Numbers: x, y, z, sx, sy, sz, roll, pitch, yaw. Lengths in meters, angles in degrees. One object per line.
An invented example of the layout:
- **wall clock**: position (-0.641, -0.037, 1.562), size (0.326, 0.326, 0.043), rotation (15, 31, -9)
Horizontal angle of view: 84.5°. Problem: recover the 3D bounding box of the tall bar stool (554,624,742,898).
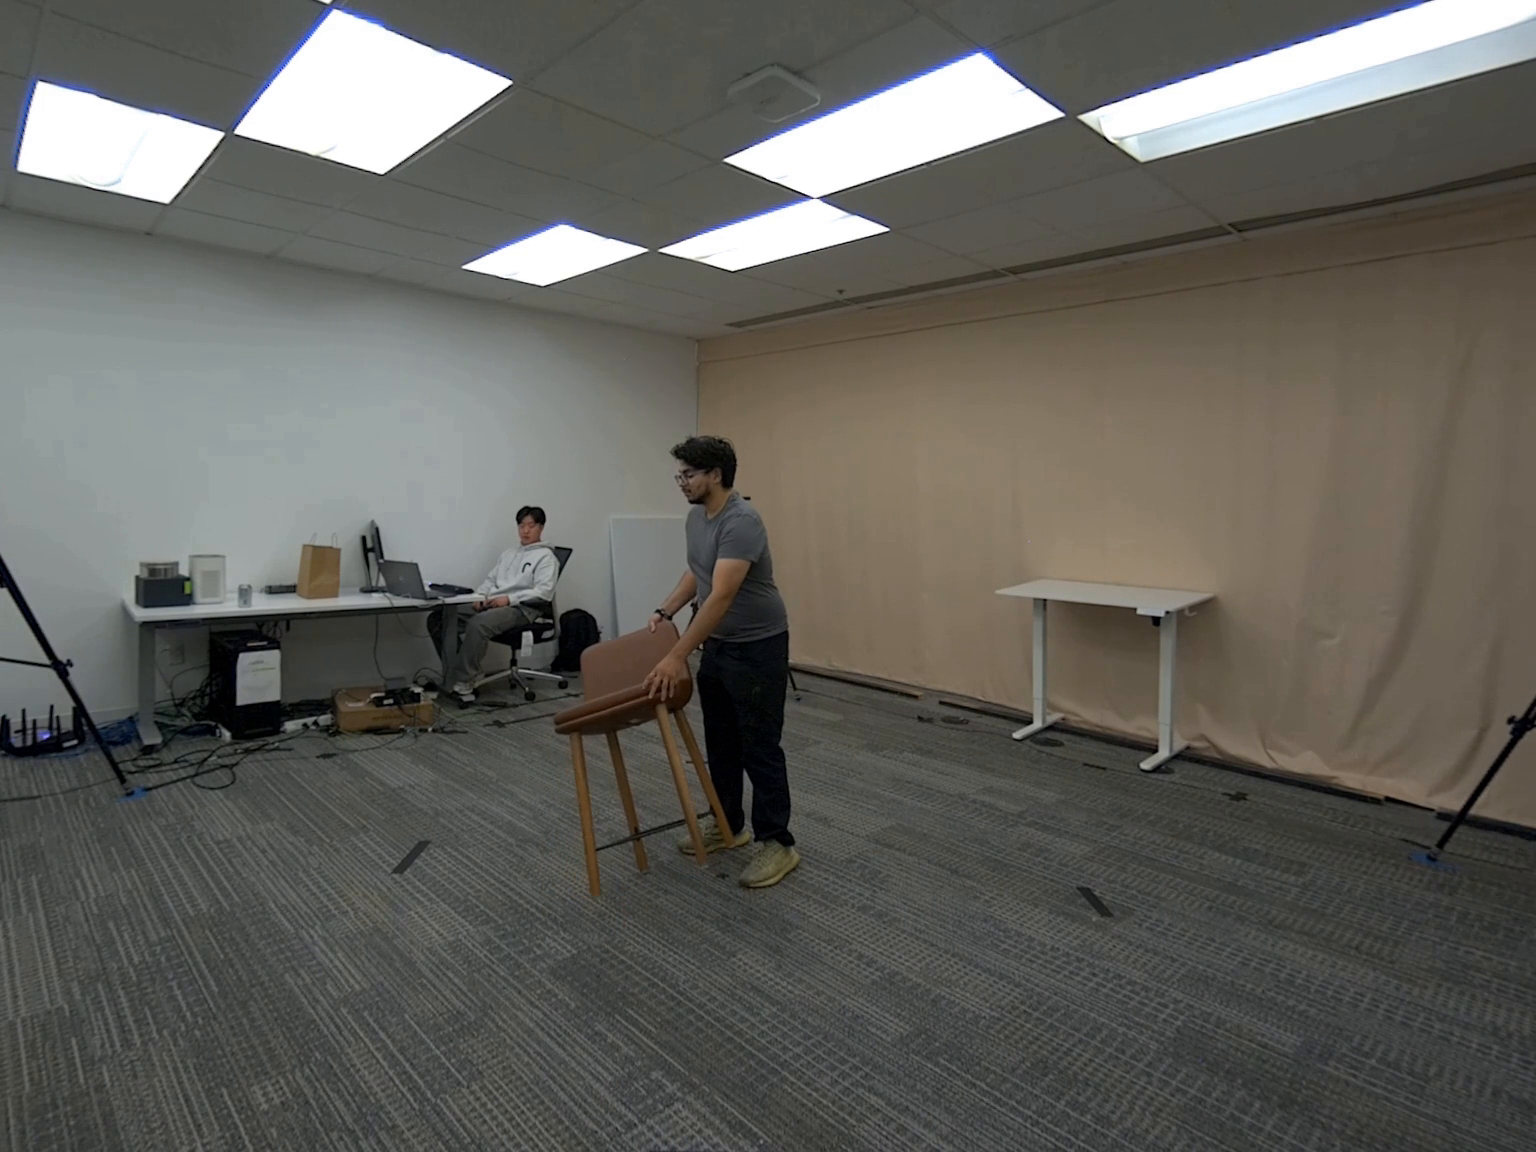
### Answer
- **tall bar stool**: position (-0.474, 0.609, 2.992), size (0.458, 0.903, 0.458), rotation (-20, -16, 9)
